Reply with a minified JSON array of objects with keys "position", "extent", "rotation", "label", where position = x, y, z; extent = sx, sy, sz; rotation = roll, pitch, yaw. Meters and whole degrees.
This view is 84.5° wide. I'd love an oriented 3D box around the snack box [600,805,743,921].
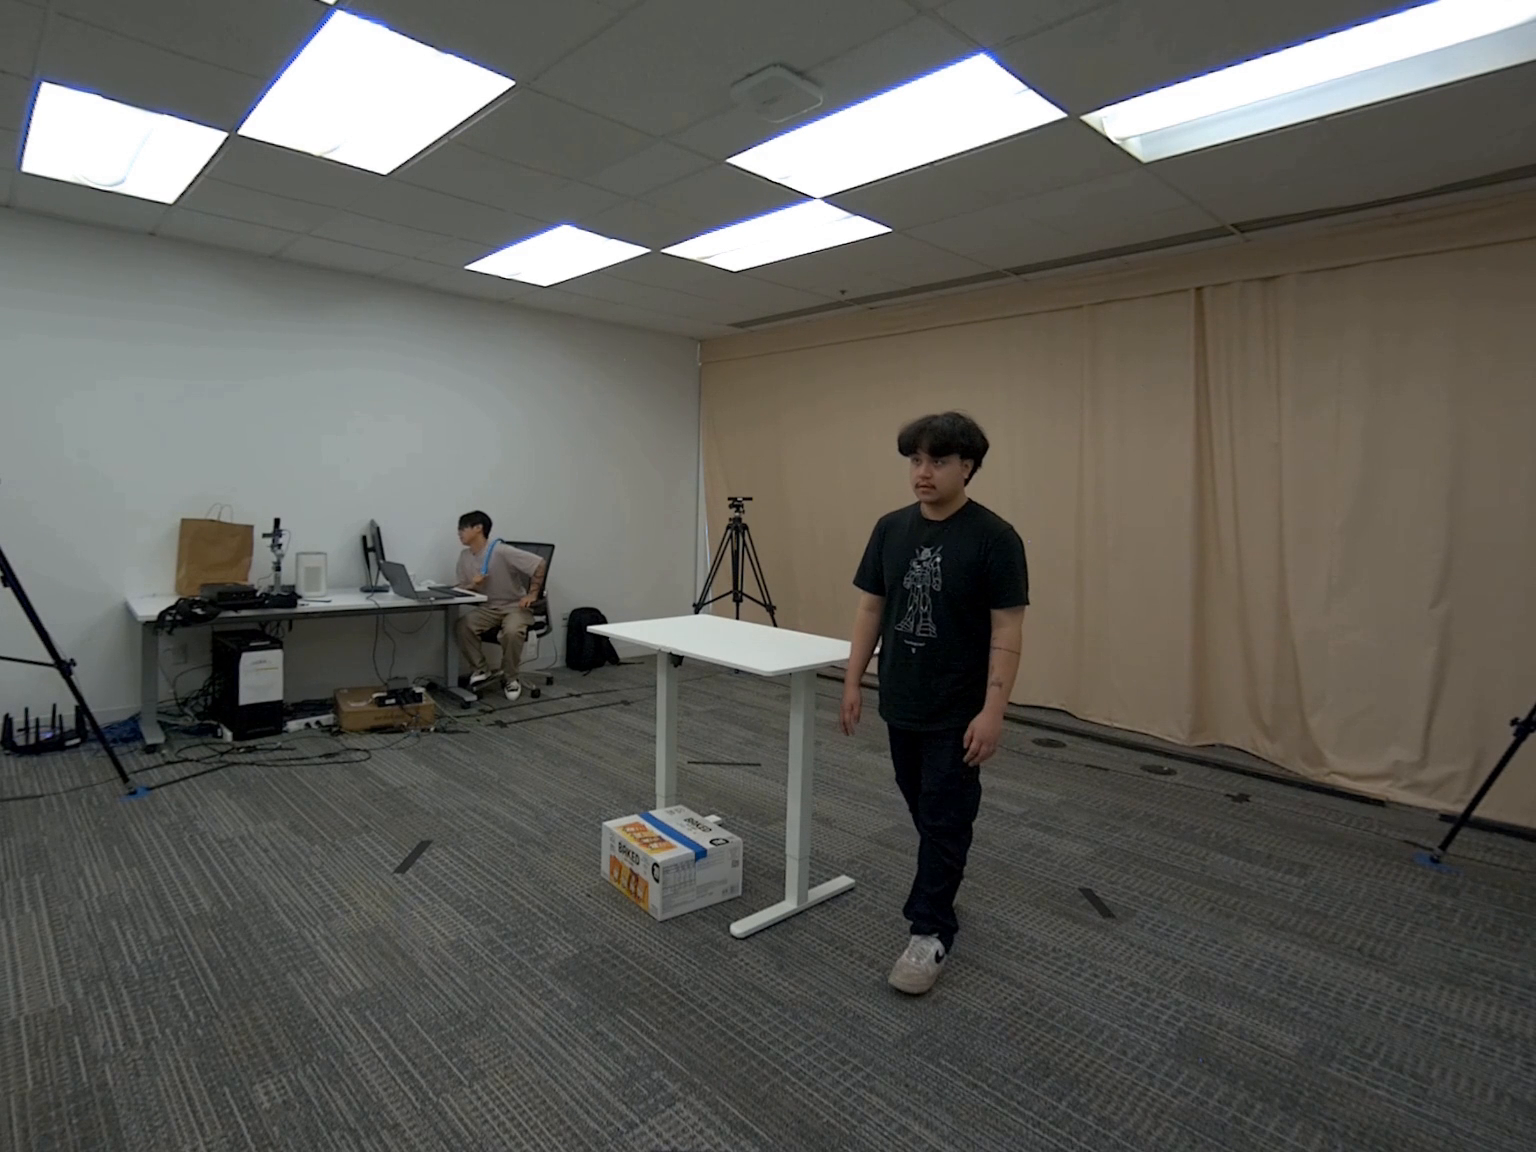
[{"position":[-0.355,1.013,3.005],"extent":[0.333,0.205,0.415],"rotation":[-2,6,-37],"label":"snack box"}]
